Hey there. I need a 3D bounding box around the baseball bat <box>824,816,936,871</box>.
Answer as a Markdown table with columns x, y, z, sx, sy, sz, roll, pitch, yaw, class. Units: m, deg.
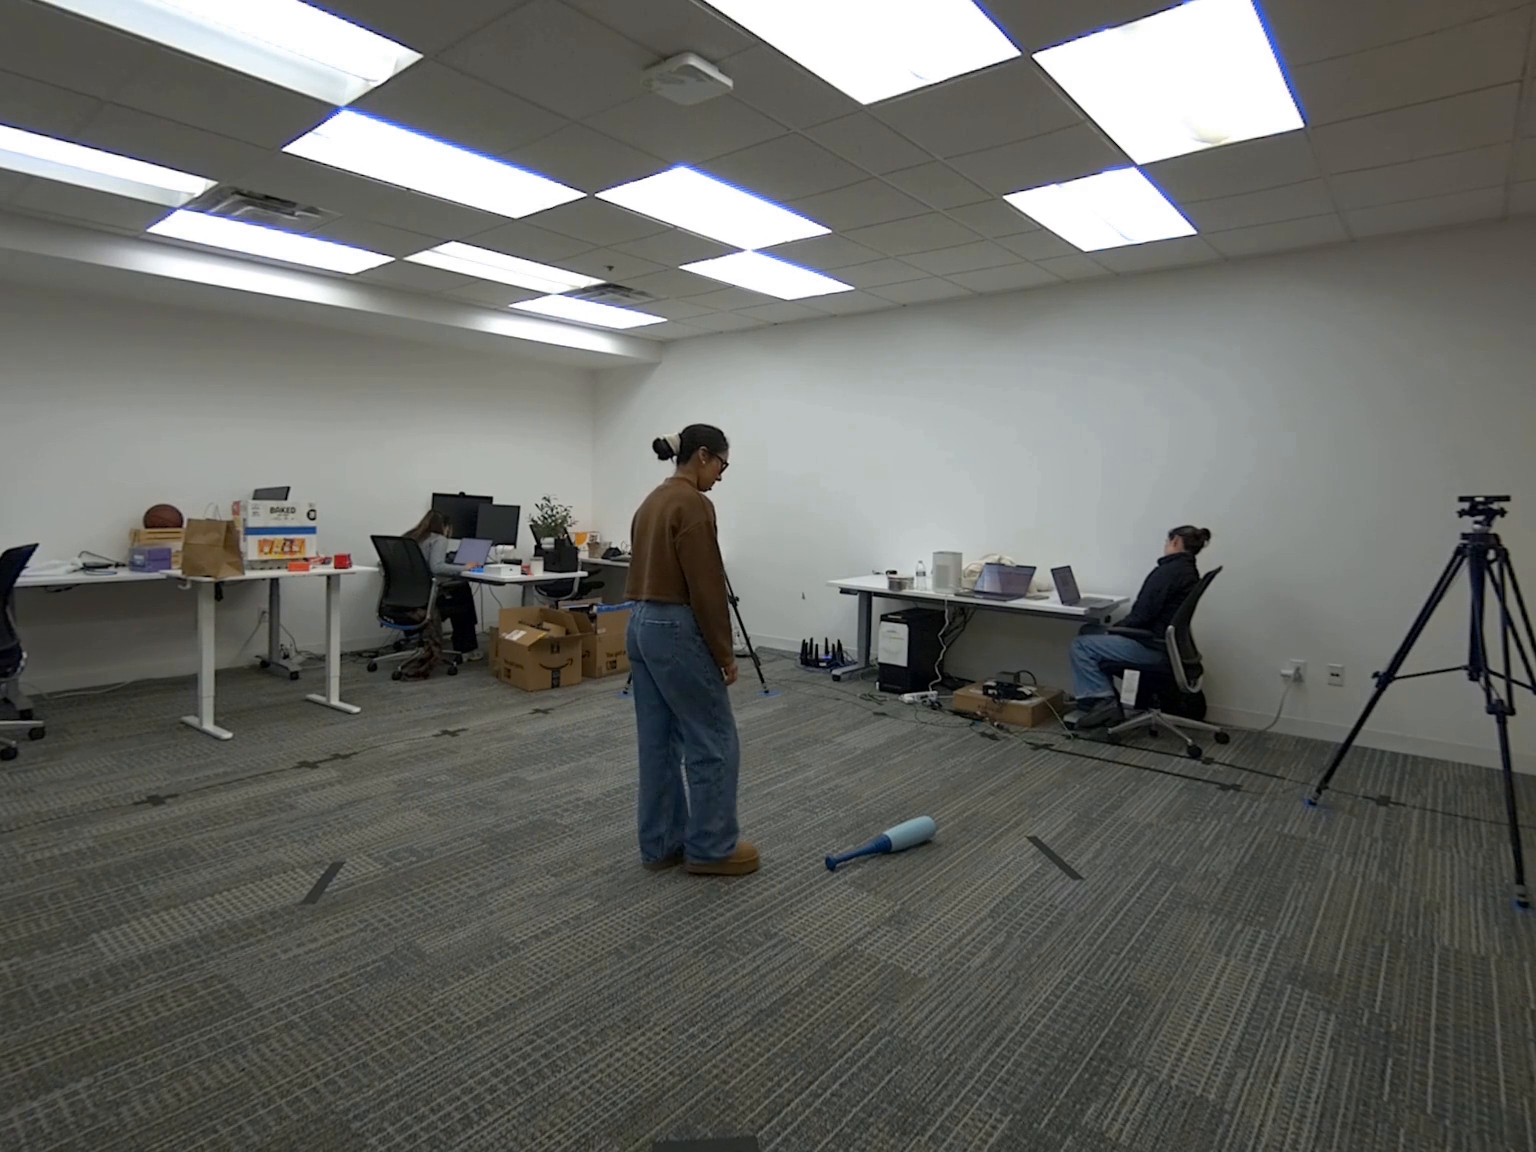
| x | y | z | sx | sy | sz | roll | pitch | yaw | class |
| --- | --- | --- | --- | --- | --- | --- | --- | --- | --- |
| 0.430 | 1.035 | 3.262 | 0.529 | 0.088 | 0.092 | -7 | 8 | -34 | baseball bat |
